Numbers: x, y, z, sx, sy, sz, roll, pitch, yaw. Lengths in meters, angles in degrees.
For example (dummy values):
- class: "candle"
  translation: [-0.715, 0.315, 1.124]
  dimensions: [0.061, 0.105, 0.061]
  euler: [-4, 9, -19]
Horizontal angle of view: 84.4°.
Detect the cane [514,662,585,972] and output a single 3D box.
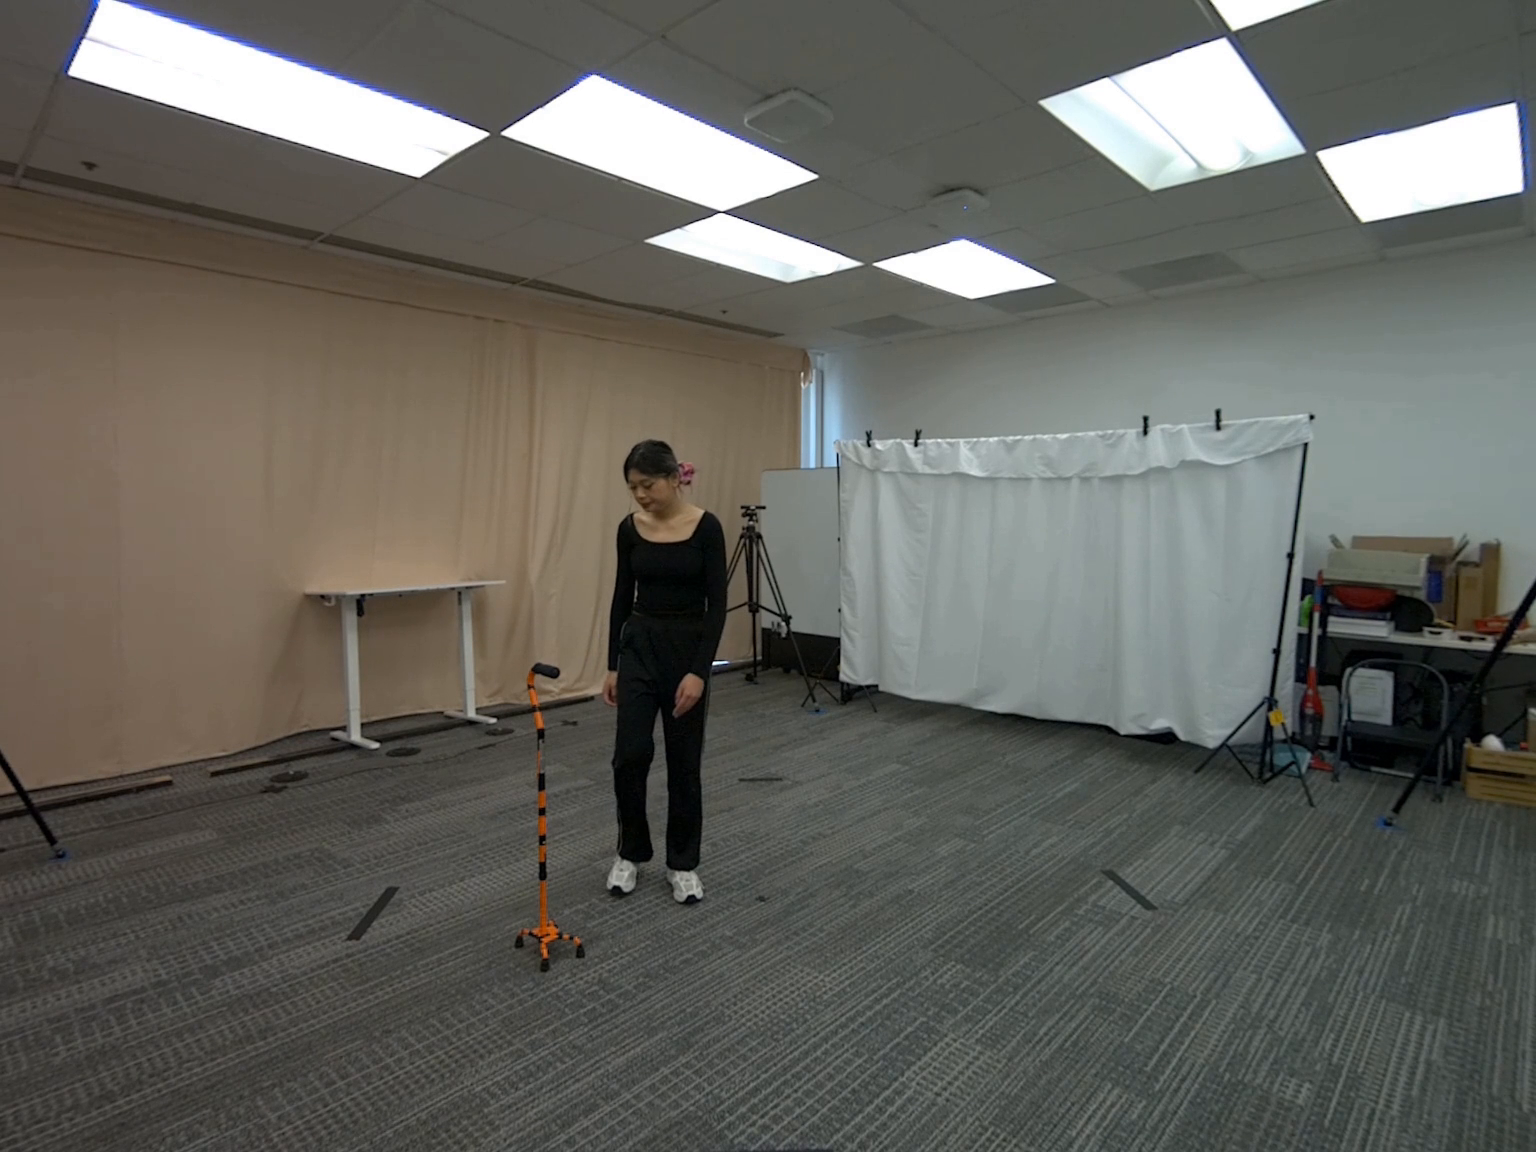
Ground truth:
- class: "cane"
  translation: [-0.686, 0.727, 2.619]
  dimensions: [0.147, 0.906, 0.213]
  euler: [-2, 3, -39]
